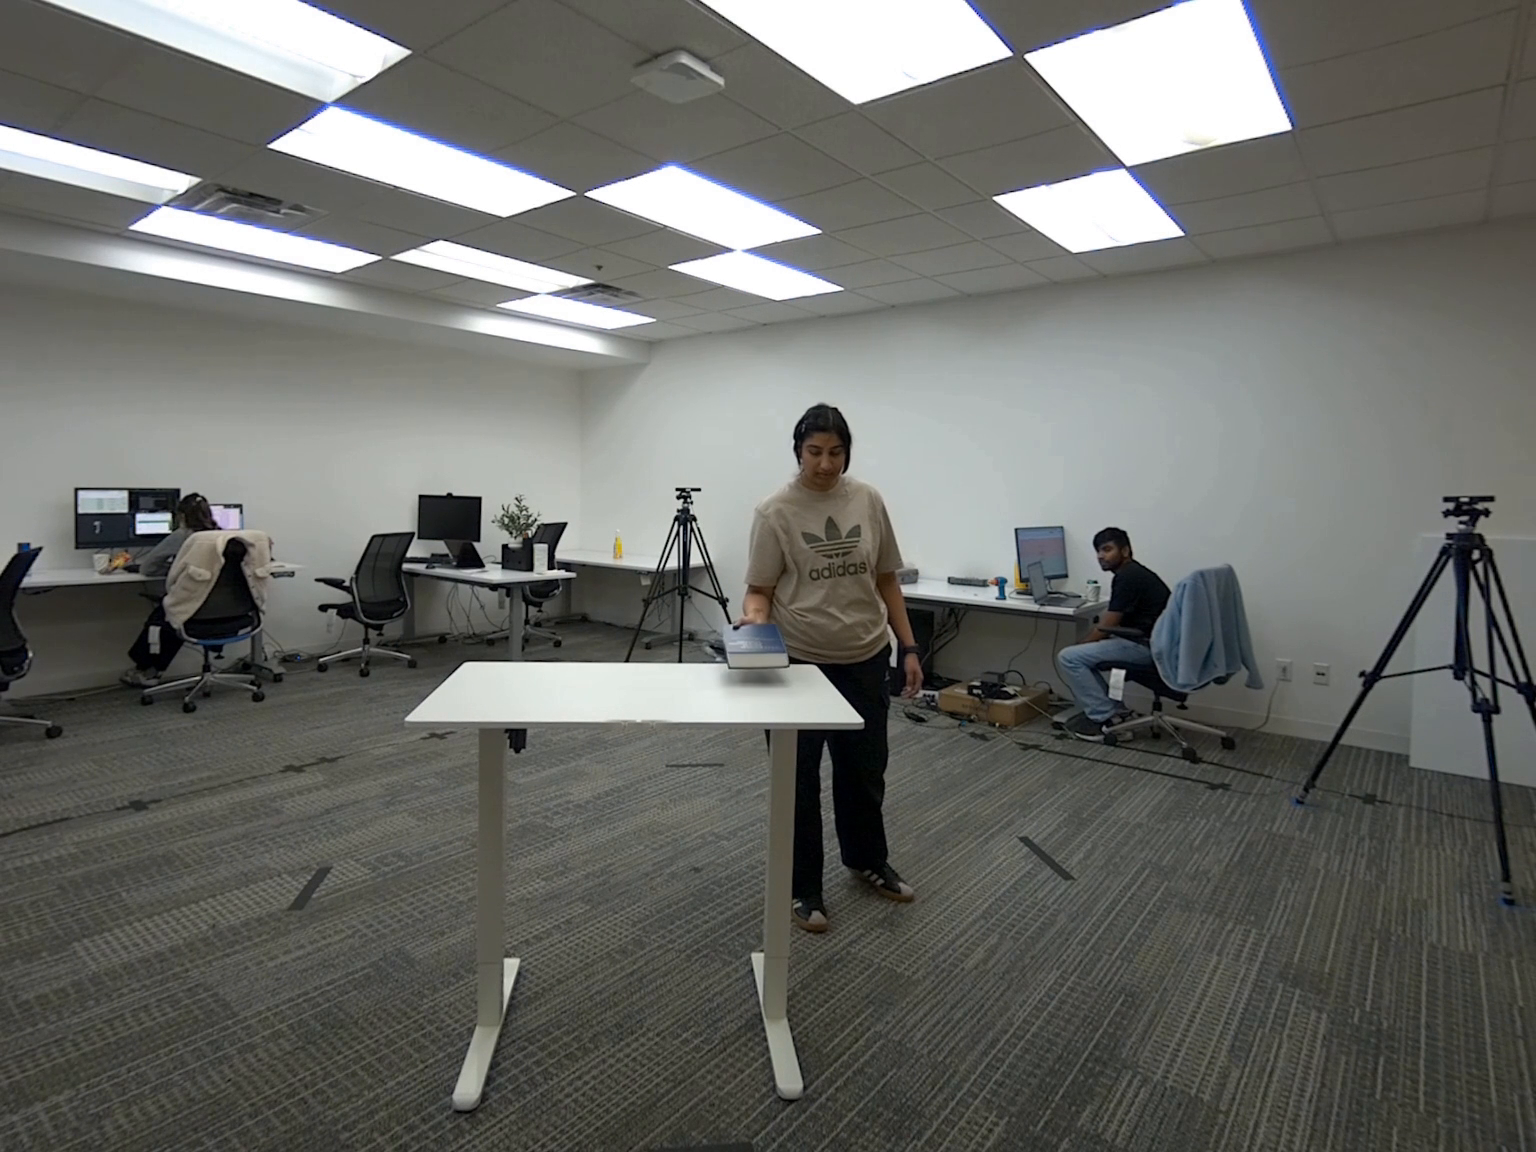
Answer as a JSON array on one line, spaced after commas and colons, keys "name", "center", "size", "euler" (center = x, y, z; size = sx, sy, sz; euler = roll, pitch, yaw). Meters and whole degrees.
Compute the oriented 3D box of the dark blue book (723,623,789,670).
[{"name": "dark blue book", "center": [-0.037, 0.188, 2.305], "size": [0.162, 0.044, 0.250], "euler": [-2, 13, -8]}]
